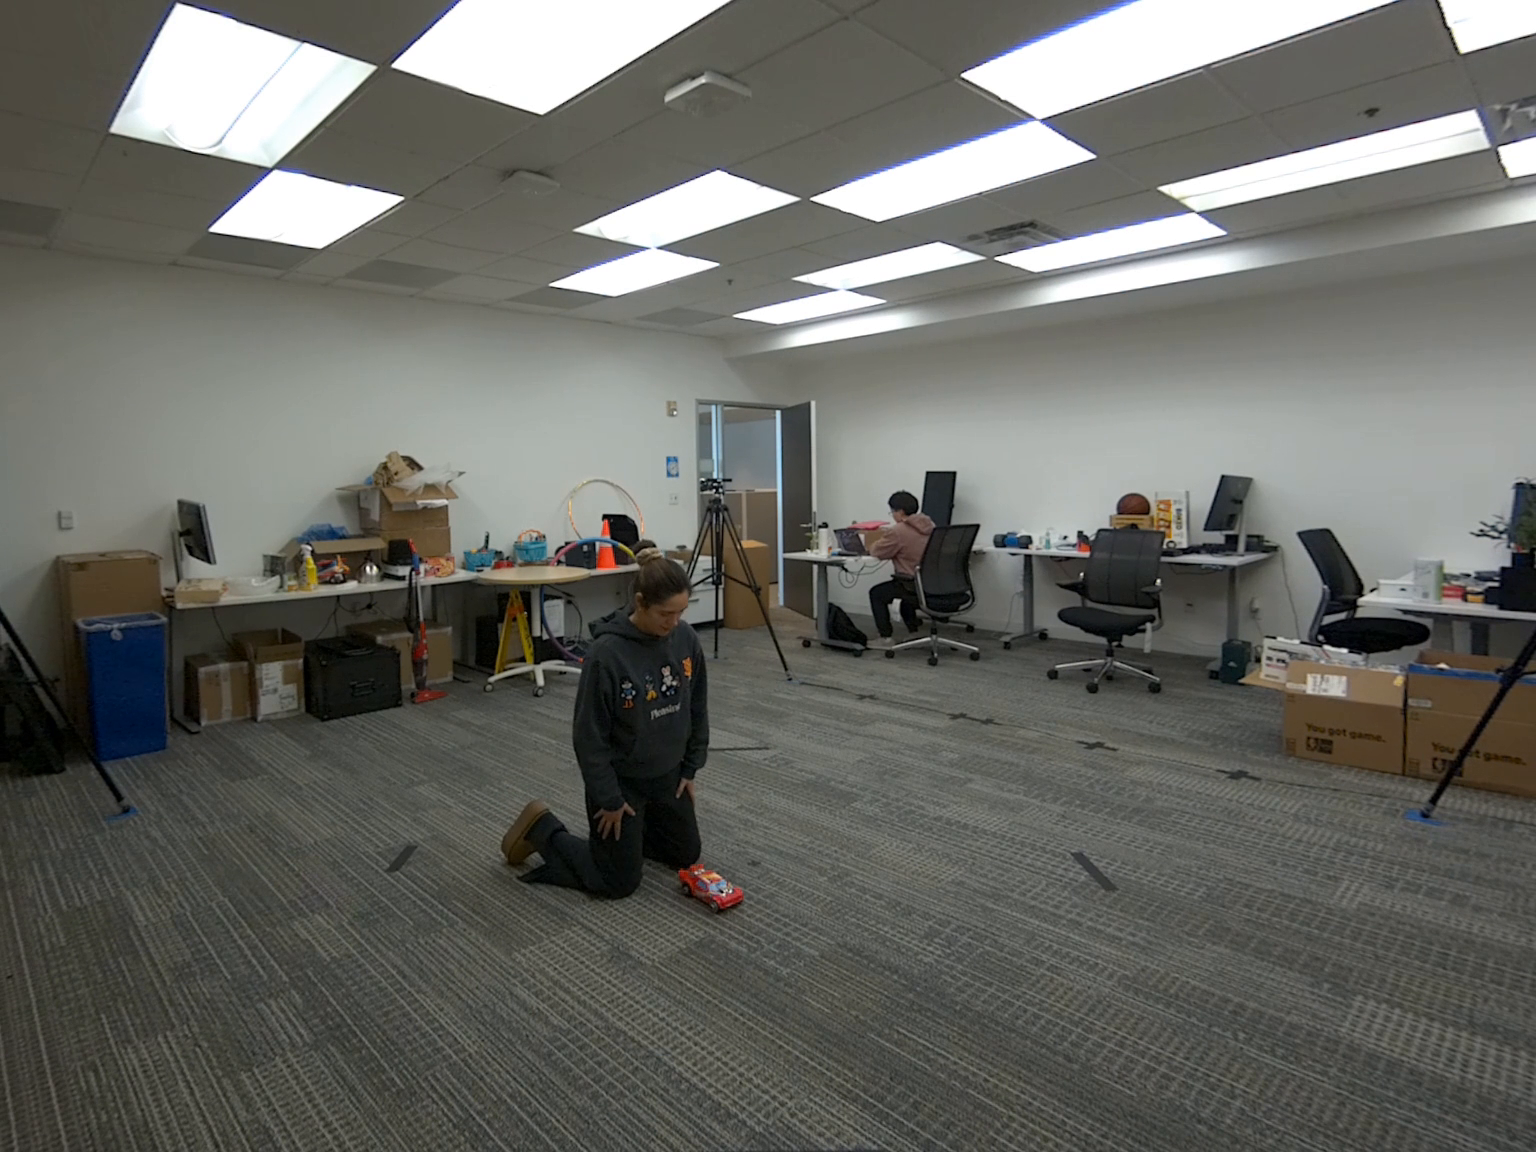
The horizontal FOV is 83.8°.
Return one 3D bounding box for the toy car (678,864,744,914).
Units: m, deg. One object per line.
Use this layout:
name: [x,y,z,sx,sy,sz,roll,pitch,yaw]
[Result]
toy car: [-0.199,1.044,2.840,0.127,0.082,0.264,-6,19,-40]
